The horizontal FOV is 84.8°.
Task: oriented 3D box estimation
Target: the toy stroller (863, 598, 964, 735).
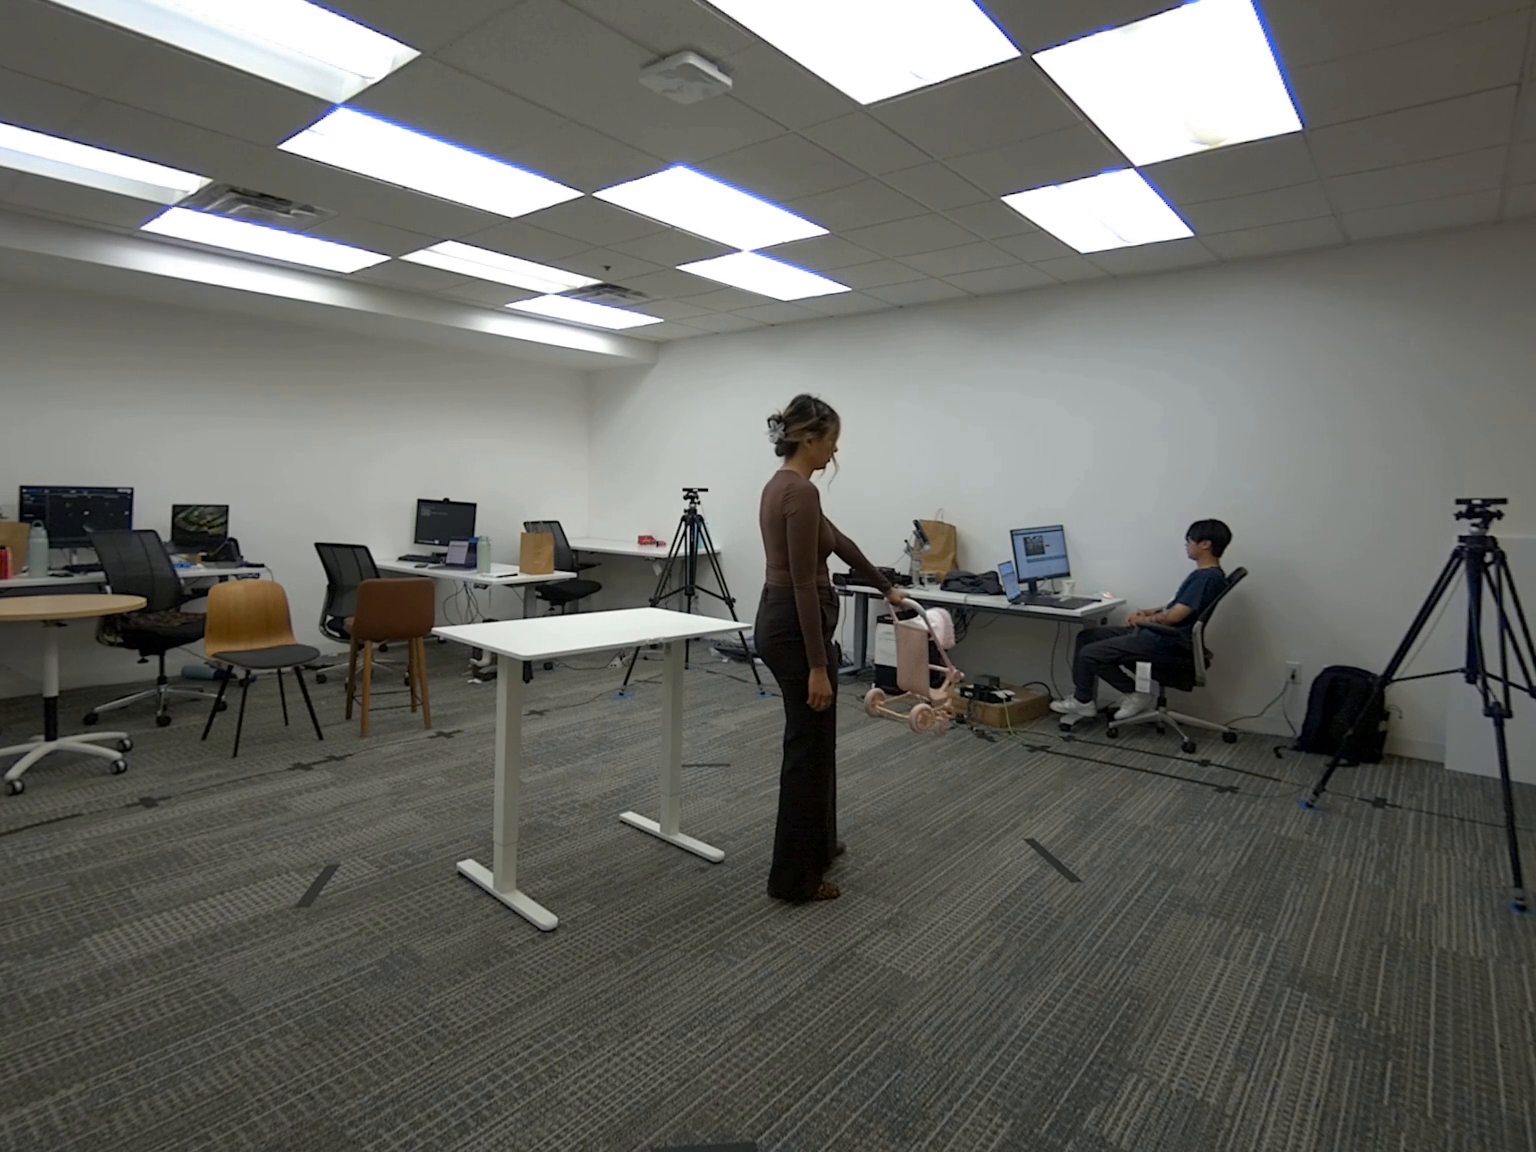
[{"bbox_3d":[0.584,0.355,3.266,0.331,0.534,0.290,5,2,-31],"label":"toy stroller"}]
